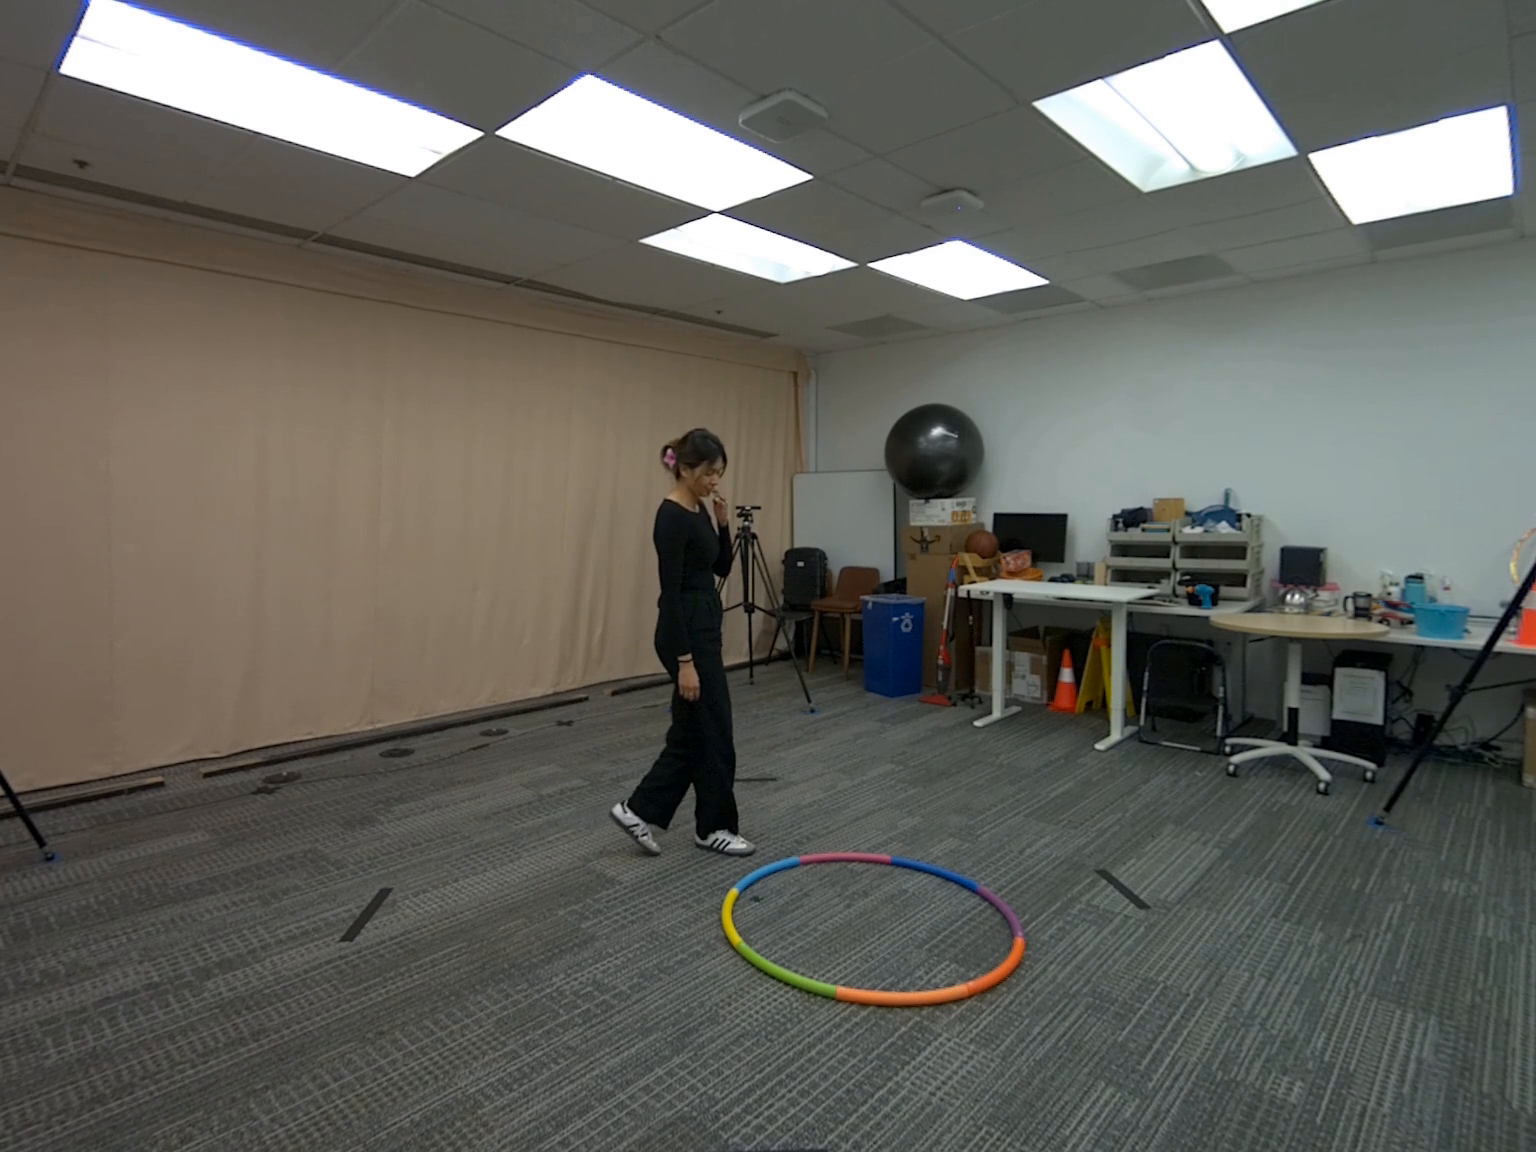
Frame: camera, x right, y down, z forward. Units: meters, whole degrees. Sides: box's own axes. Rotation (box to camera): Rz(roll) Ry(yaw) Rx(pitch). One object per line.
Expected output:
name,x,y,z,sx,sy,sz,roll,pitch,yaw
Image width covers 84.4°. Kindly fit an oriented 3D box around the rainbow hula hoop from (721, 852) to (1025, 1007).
rainbow hula hoop,0.337,1.128,2.823,0.978,0.035,0.982,-1,5,-2
